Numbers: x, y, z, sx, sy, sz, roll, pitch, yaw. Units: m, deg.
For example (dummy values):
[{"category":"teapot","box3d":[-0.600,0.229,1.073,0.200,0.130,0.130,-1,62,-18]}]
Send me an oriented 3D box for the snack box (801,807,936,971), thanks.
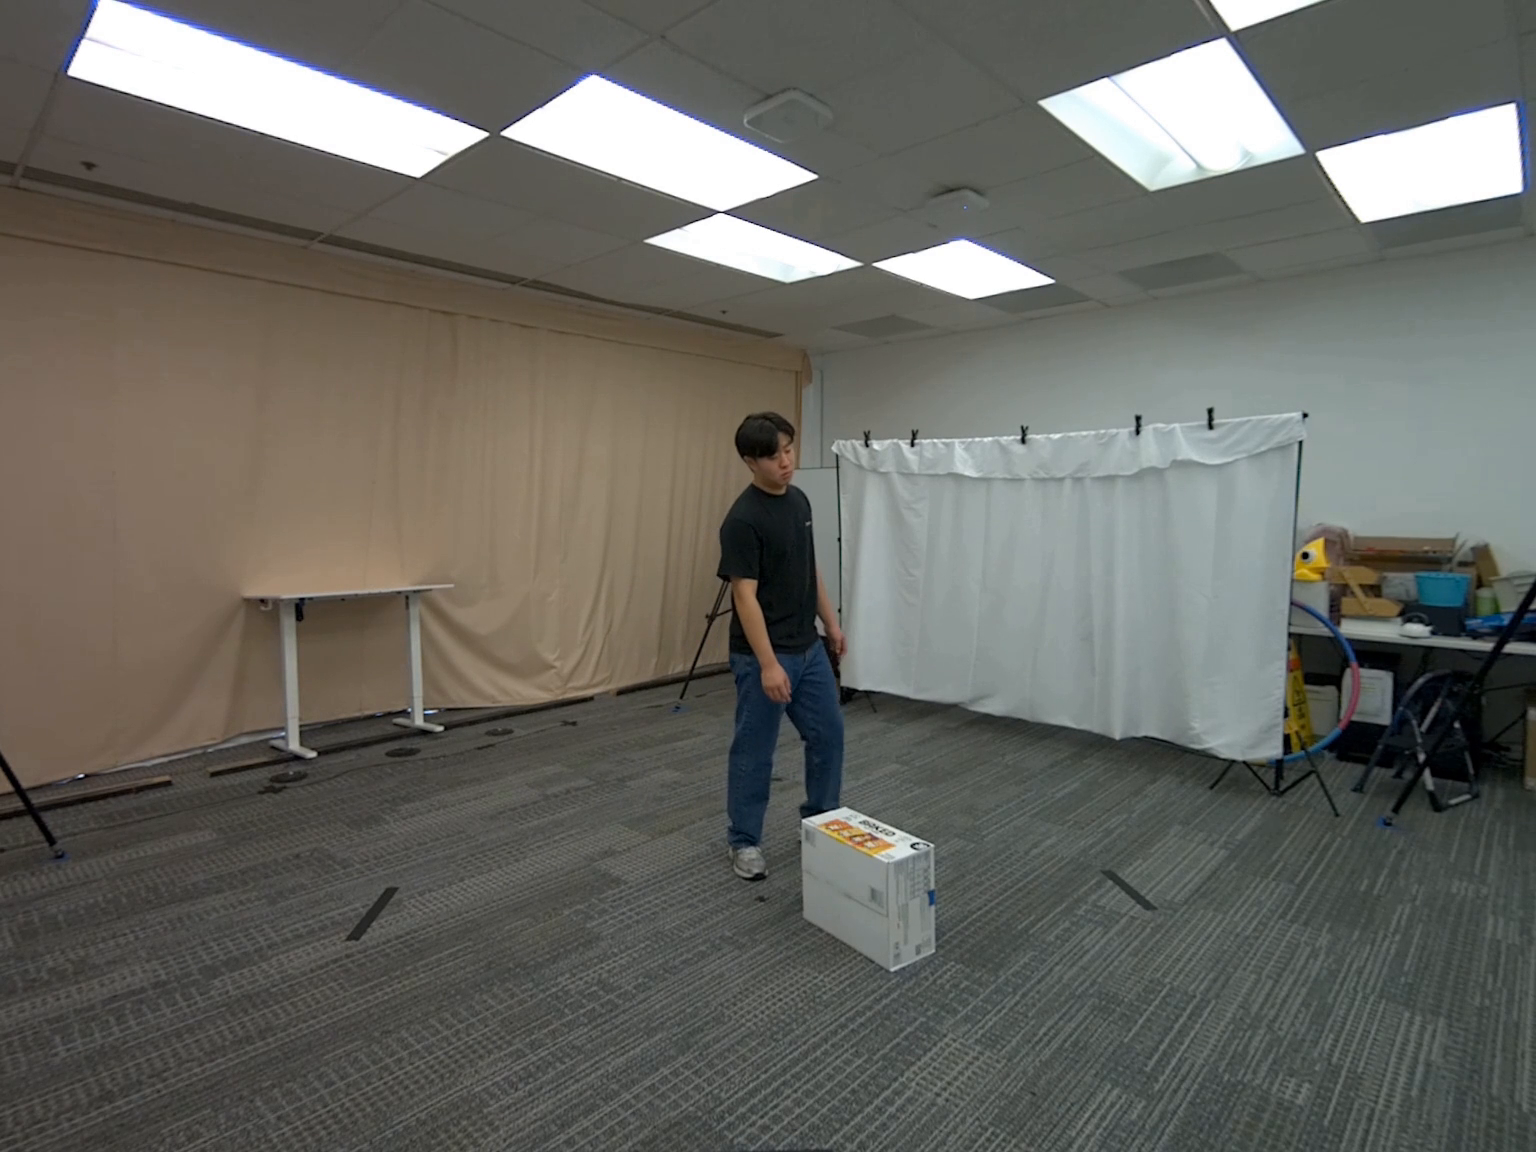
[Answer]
[{"category":"snack box","box3d":[0.324,0.998,2.717,0.200,0.339,0.418,-4,5,-36]}]
